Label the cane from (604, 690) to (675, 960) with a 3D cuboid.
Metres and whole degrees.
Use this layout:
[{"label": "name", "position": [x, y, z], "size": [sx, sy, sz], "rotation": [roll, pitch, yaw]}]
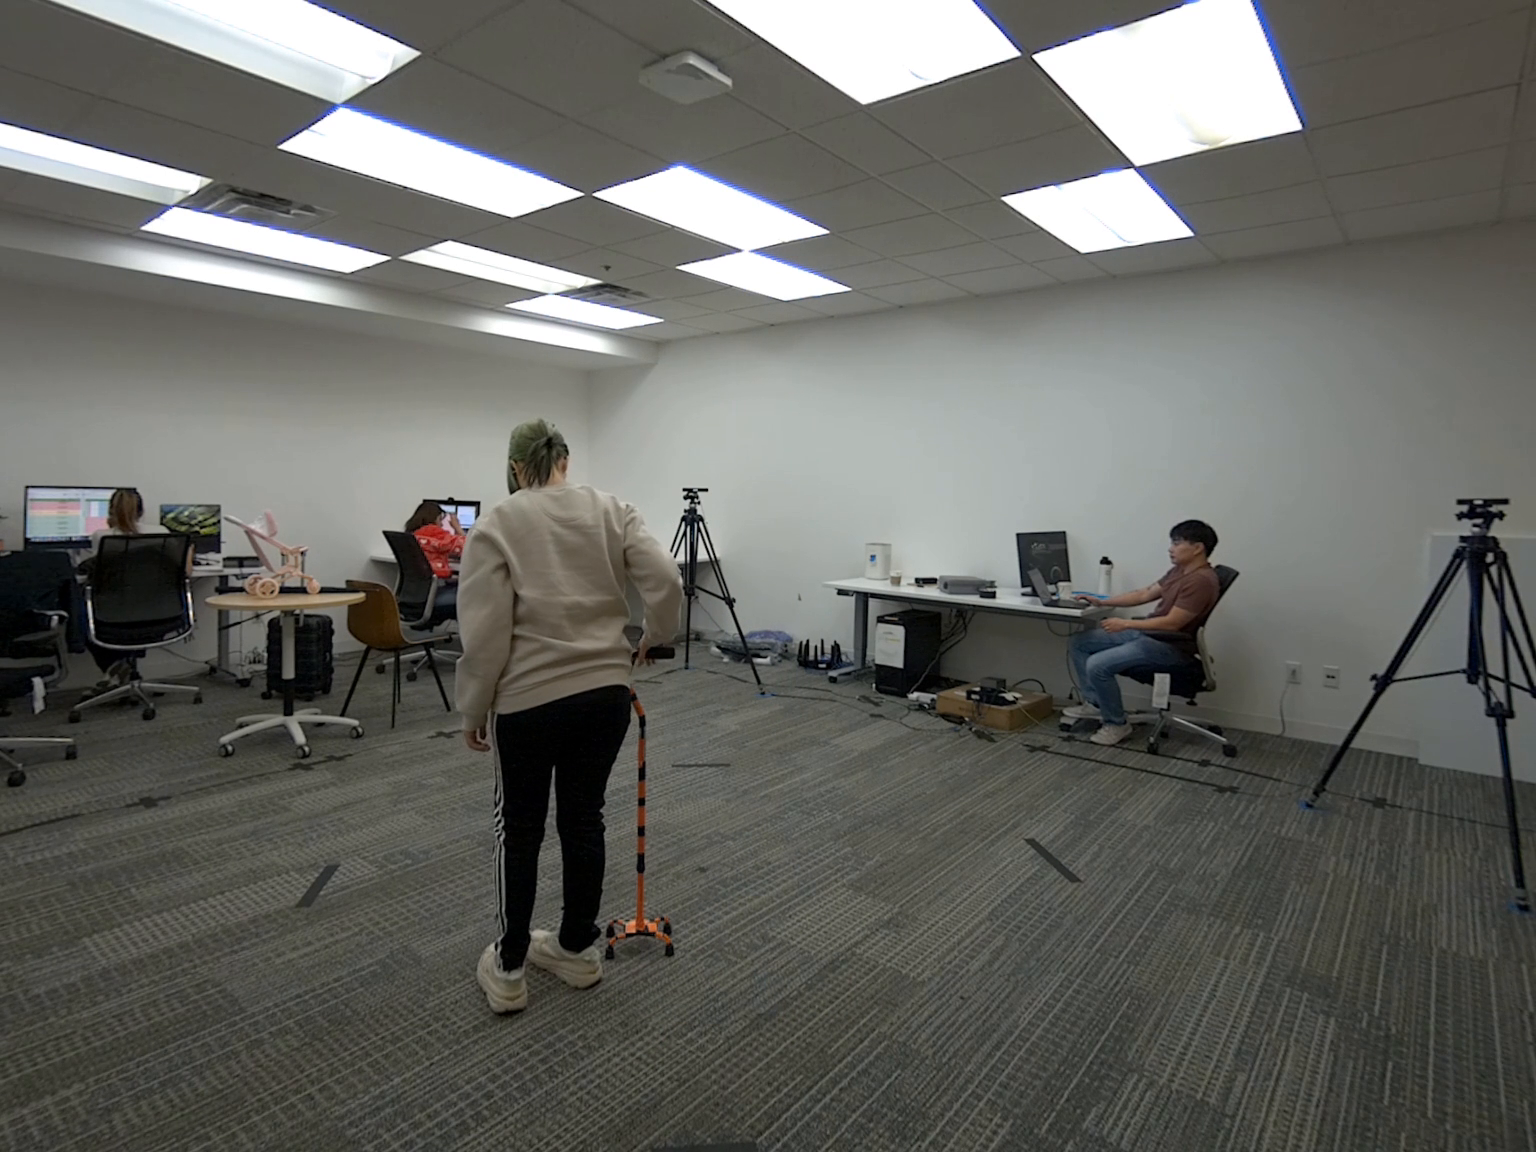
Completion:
[{"label": "cane", "position": [-0.386, 0.671, 2.566], "size": [0.205, 0.906, 0.153], "rotation": [0, 2, -9]}]
